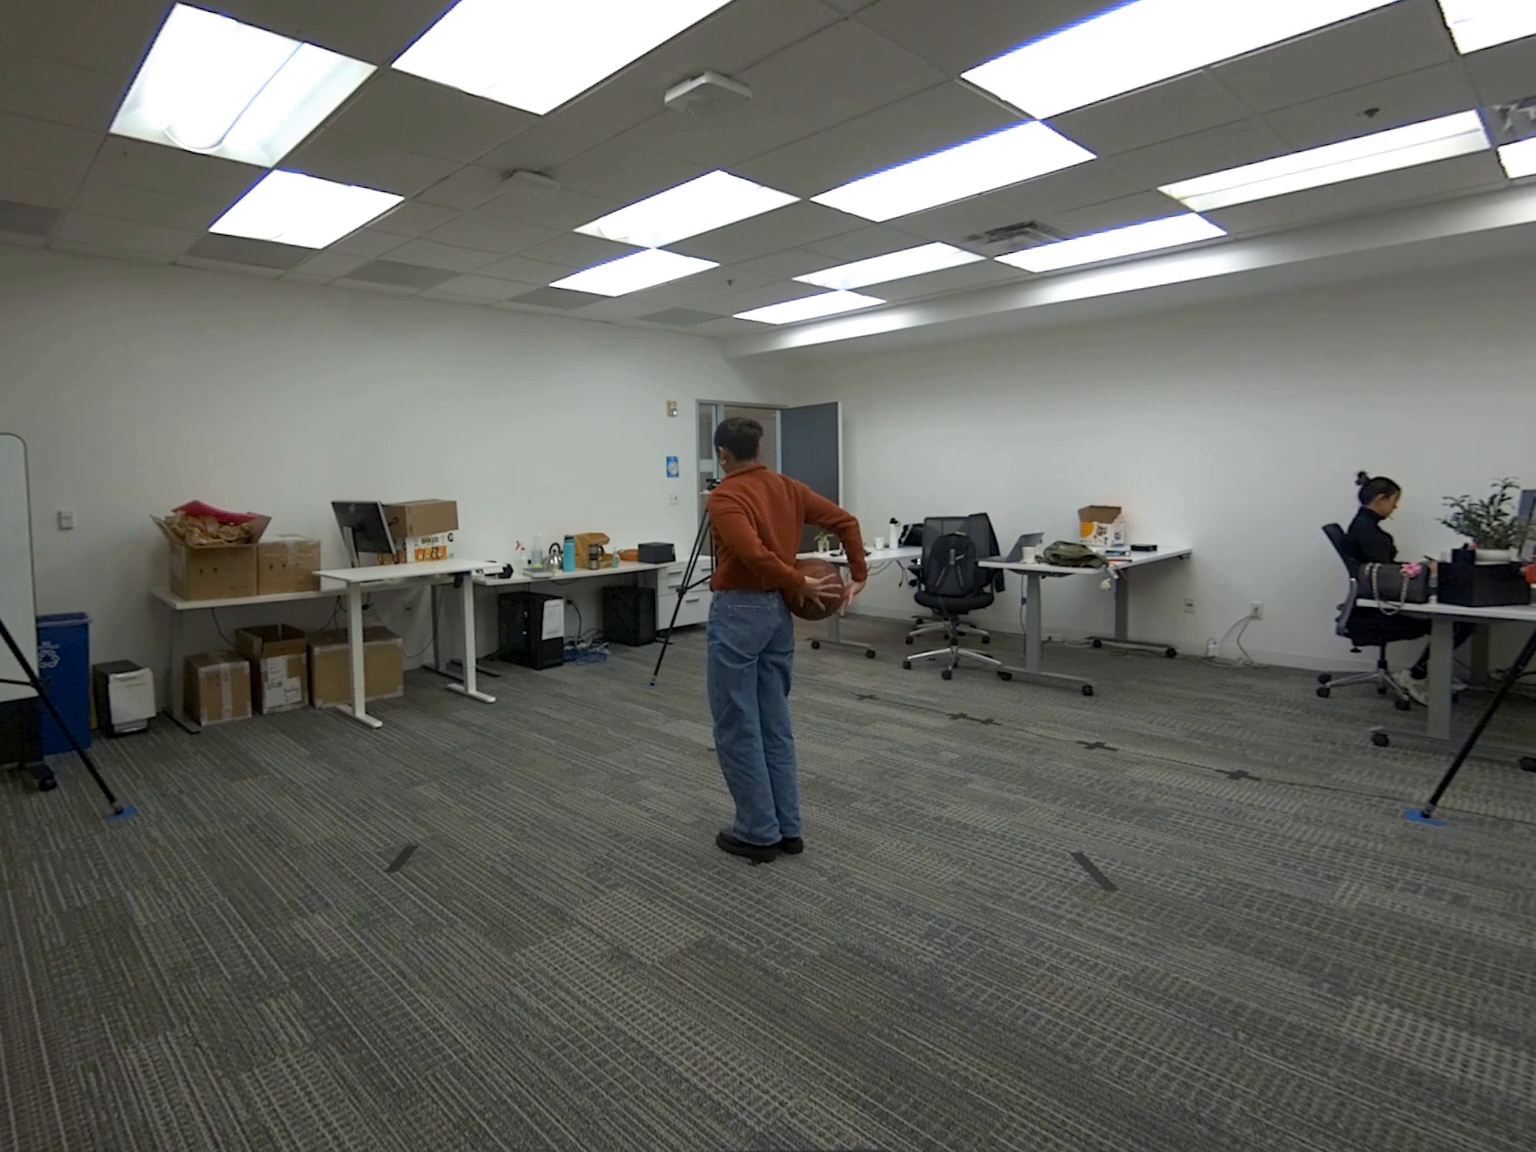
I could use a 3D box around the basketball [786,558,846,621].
[{"bbox_3d":[0.173,0.040,3.214,0.236,0.235,0.237,-1,5,-2],"label":"basketball"}]
